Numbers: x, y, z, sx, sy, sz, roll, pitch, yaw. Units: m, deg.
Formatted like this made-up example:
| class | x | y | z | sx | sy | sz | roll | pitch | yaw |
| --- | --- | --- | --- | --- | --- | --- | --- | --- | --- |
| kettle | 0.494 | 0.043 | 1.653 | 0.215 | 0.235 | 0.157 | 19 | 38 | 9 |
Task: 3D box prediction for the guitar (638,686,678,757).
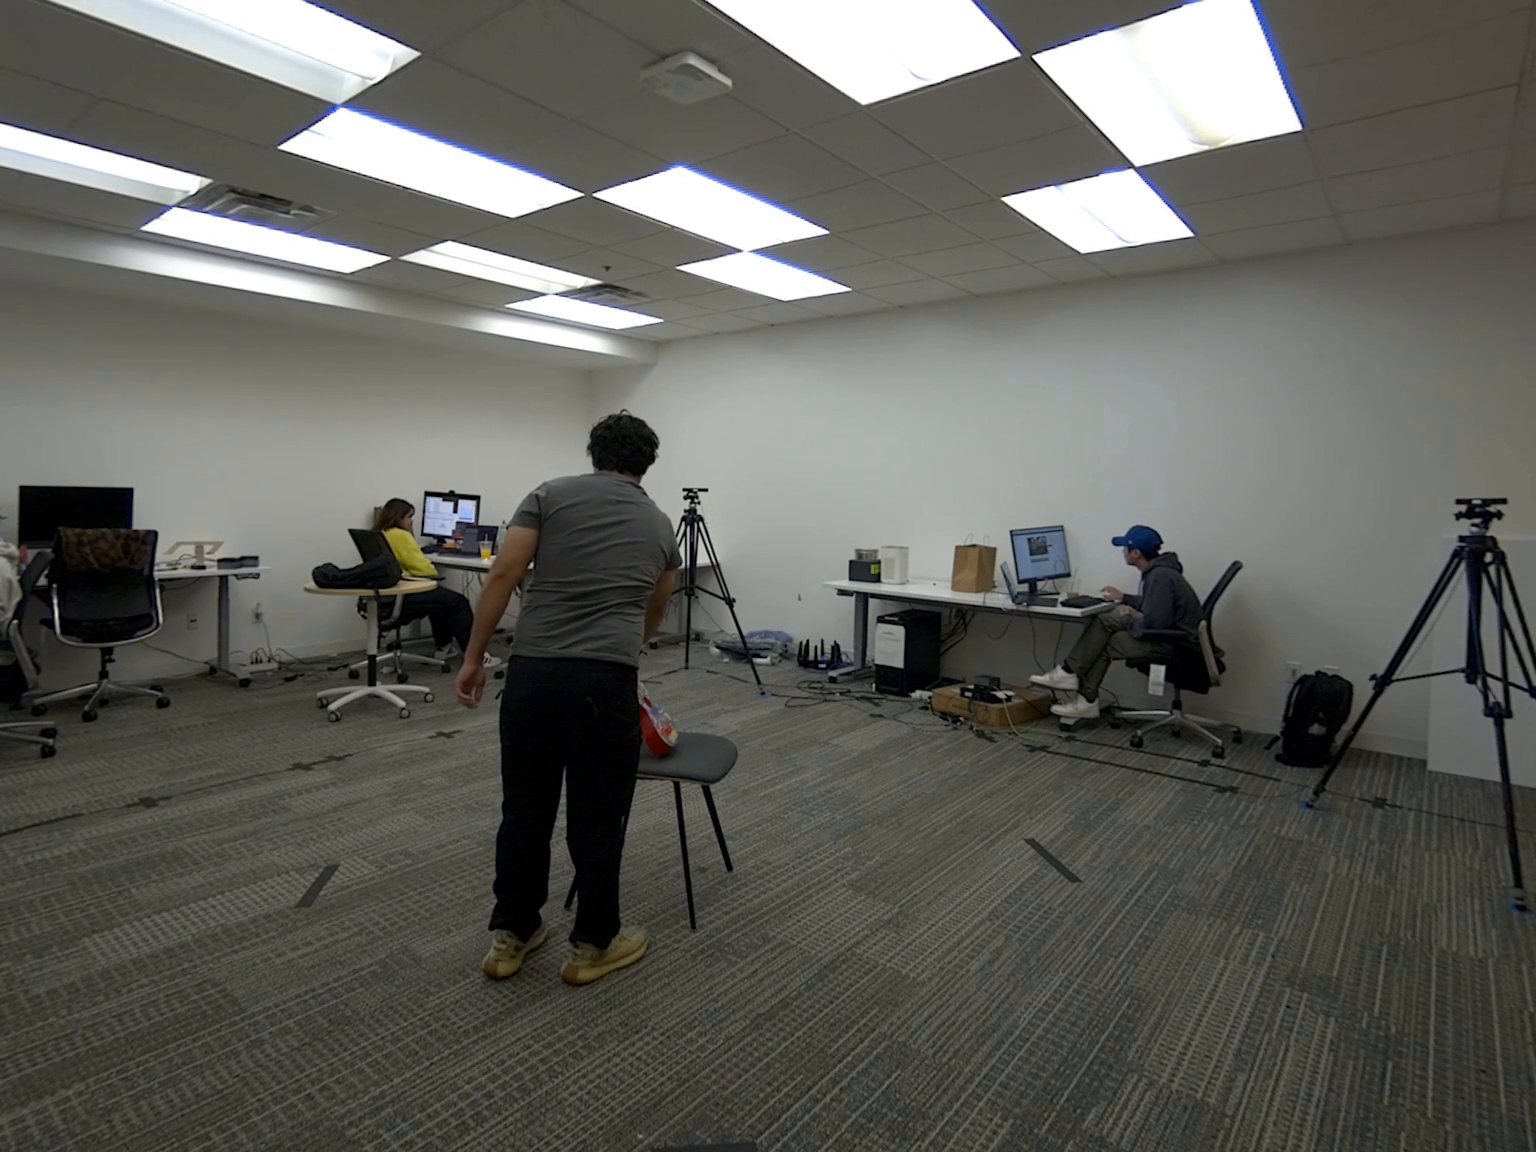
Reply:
| class | x | y | z | sx | sy | sz | roll | pitch | yaw |
| --- | --- | --- | --- | --- | --- | --- | --- | --- | --- |
| guitar | -0.480 | 0.388 | 2.964 | 0.071 | 0.502 | 0.191 | -36 | -5 | 9 |
